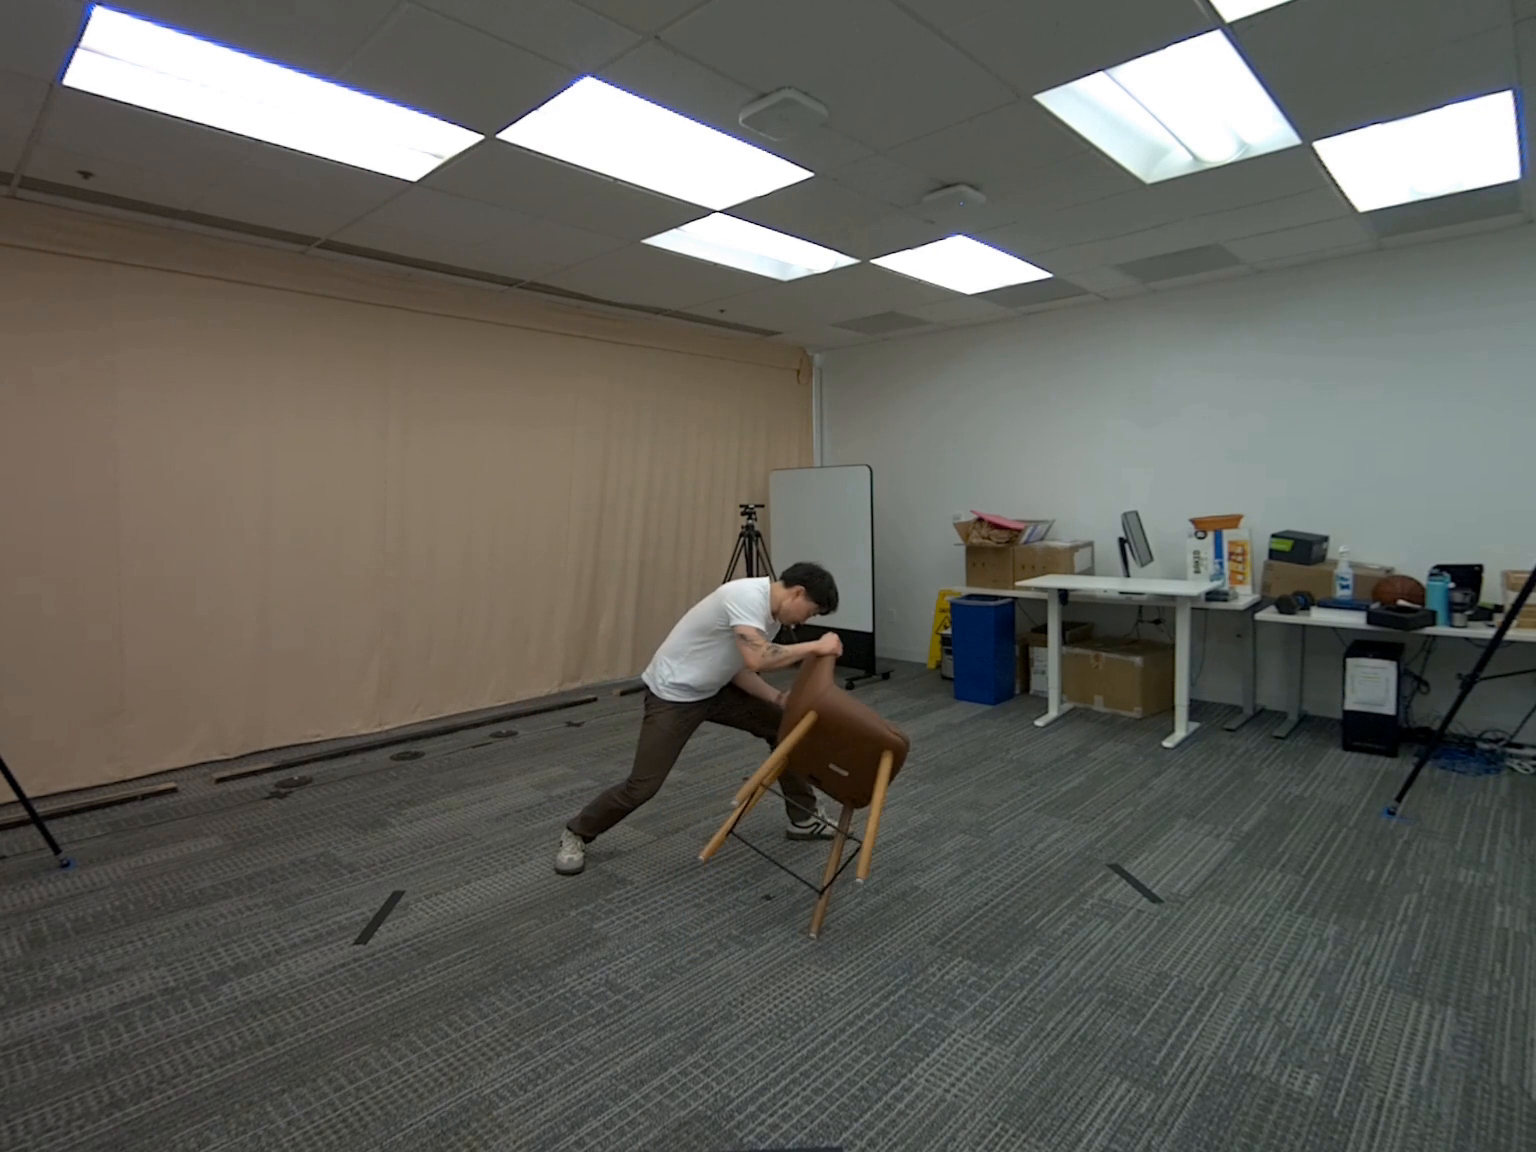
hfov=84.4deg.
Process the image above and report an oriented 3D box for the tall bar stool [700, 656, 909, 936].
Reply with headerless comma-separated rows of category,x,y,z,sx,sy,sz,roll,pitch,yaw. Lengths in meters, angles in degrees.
tall bar stool,0.186,0.688,2.925,0.472,0.454,0.886,28,40,6
